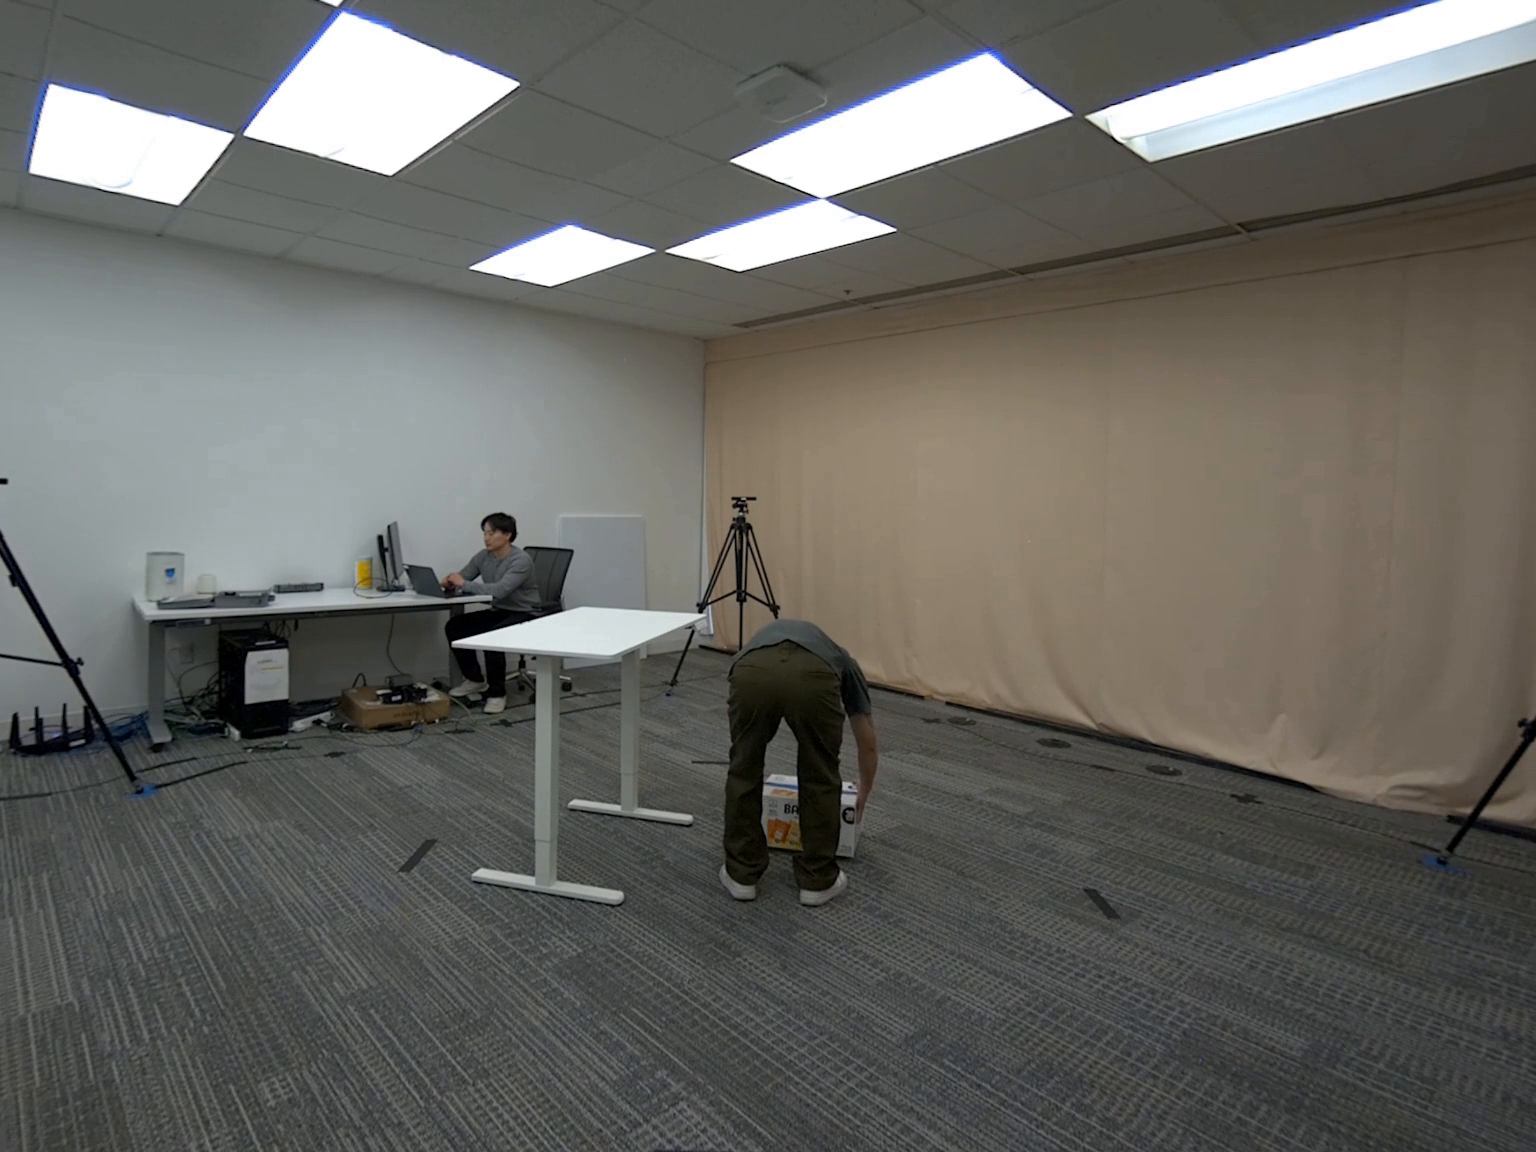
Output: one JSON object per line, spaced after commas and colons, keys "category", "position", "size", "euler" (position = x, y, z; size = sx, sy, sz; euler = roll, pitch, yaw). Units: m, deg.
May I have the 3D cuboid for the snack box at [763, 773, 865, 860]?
{"category": "snack box", "position": [0.173, 0.968, 3.448], "size": [0.410, 0.206, 0.336], "euler": [3, 1, 13]}
